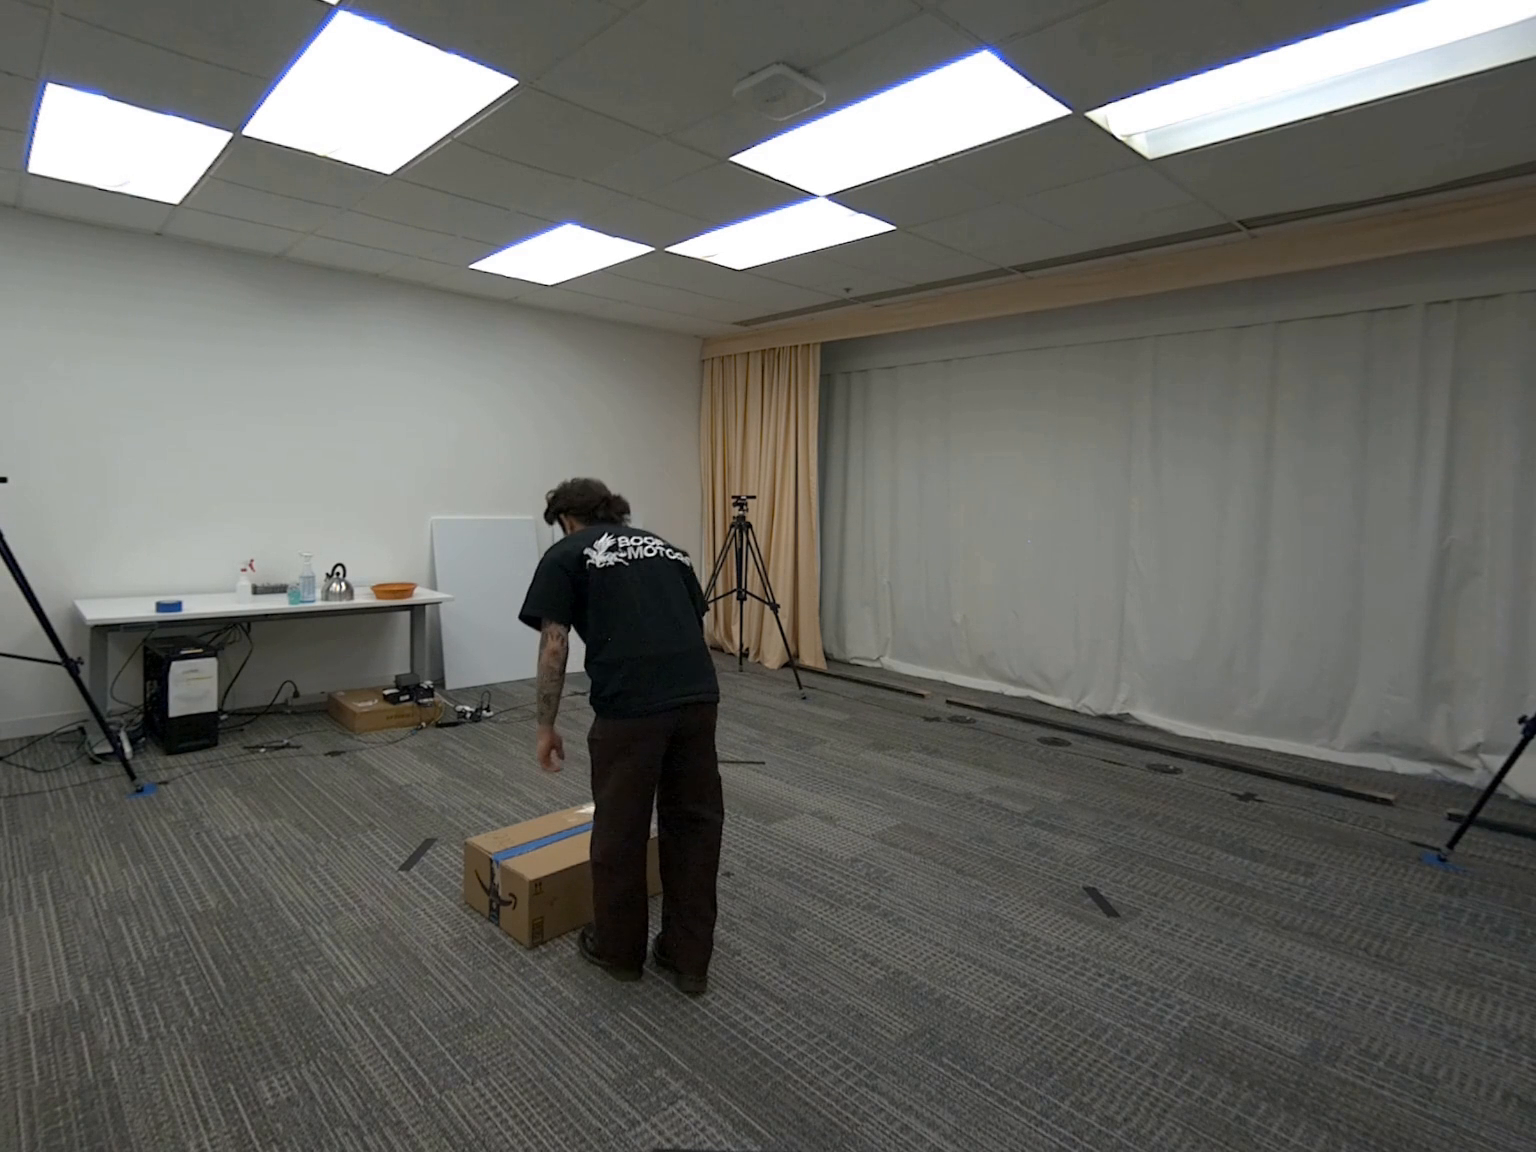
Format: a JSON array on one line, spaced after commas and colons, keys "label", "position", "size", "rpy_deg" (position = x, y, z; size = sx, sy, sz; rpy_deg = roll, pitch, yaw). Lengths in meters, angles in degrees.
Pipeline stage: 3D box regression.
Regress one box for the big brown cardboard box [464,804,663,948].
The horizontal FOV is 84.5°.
[{"label": "big brown cardboard box", "position": [-0.688, 0.997, 2.901], "size": [0.428, 0.232, 0.576], "rpy_deg": [5, 8, 42]}]
